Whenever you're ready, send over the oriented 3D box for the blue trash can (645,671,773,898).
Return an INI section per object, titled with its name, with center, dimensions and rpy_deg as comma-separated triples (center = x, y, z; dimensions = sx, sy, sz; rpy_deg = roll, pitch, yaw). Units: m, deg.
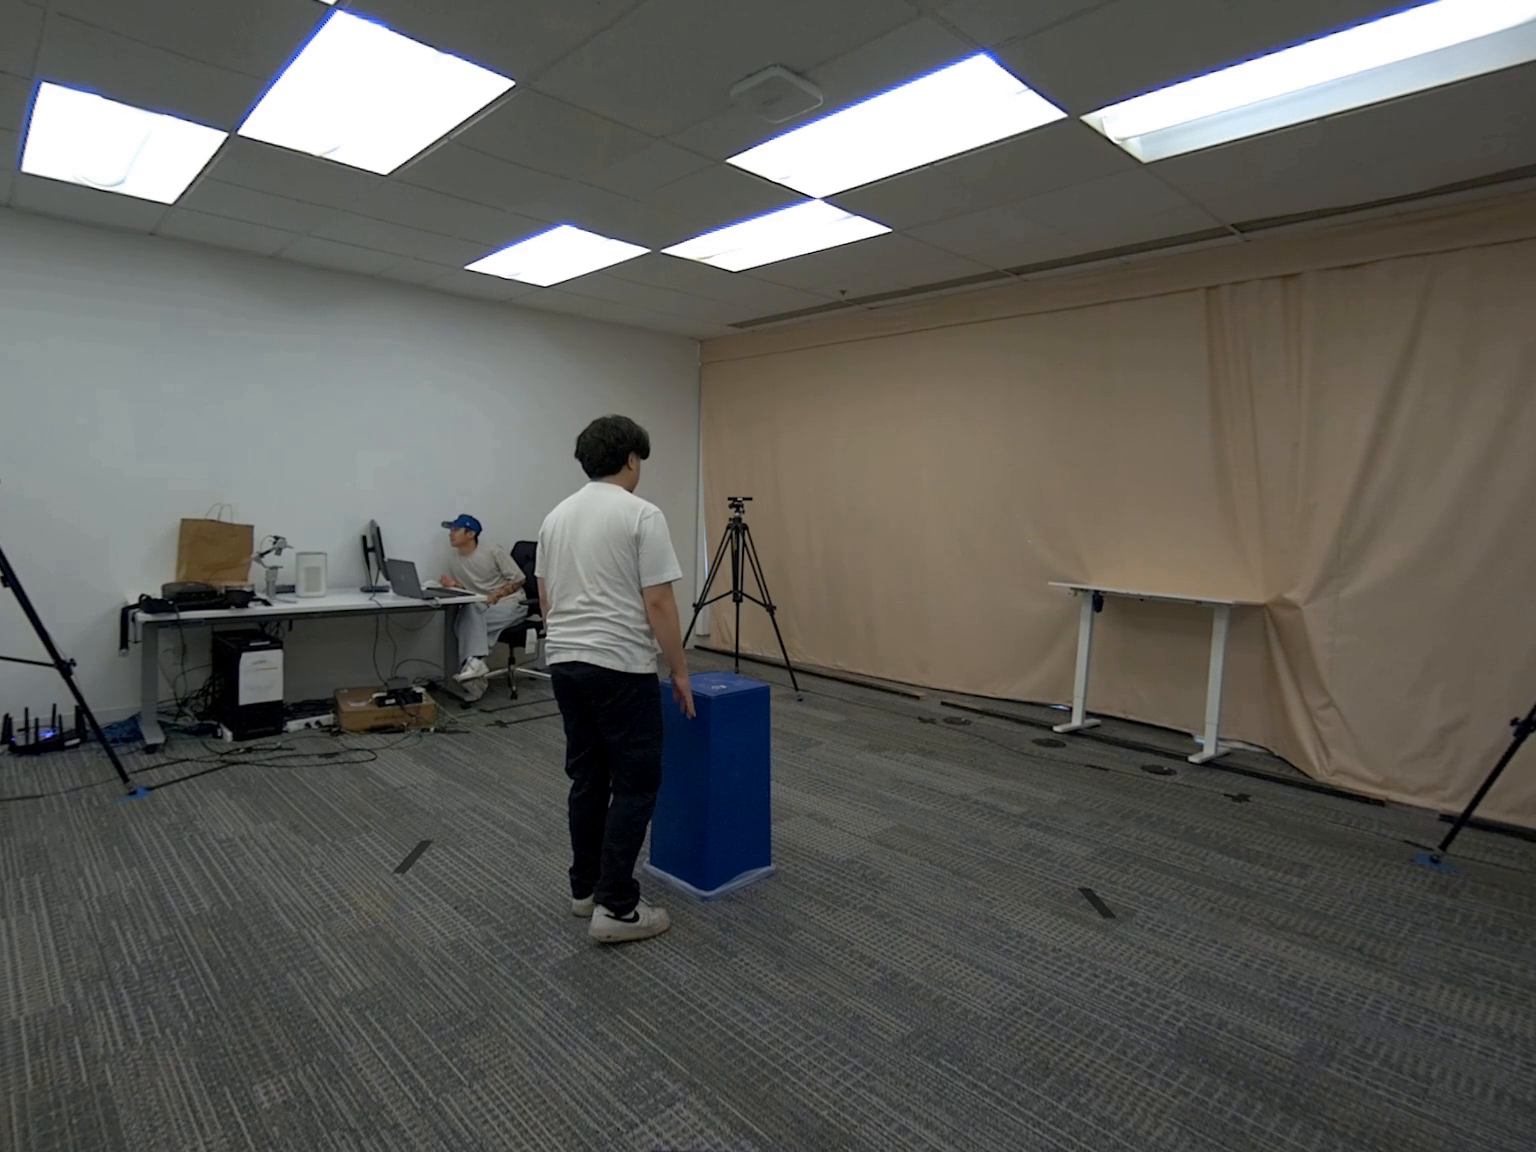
[blue trash can]
center = -0.209, 0.750, 3.129
dimensions = 0.369, 0.711, 0.384
rpy_deg = -2, 5, -45
